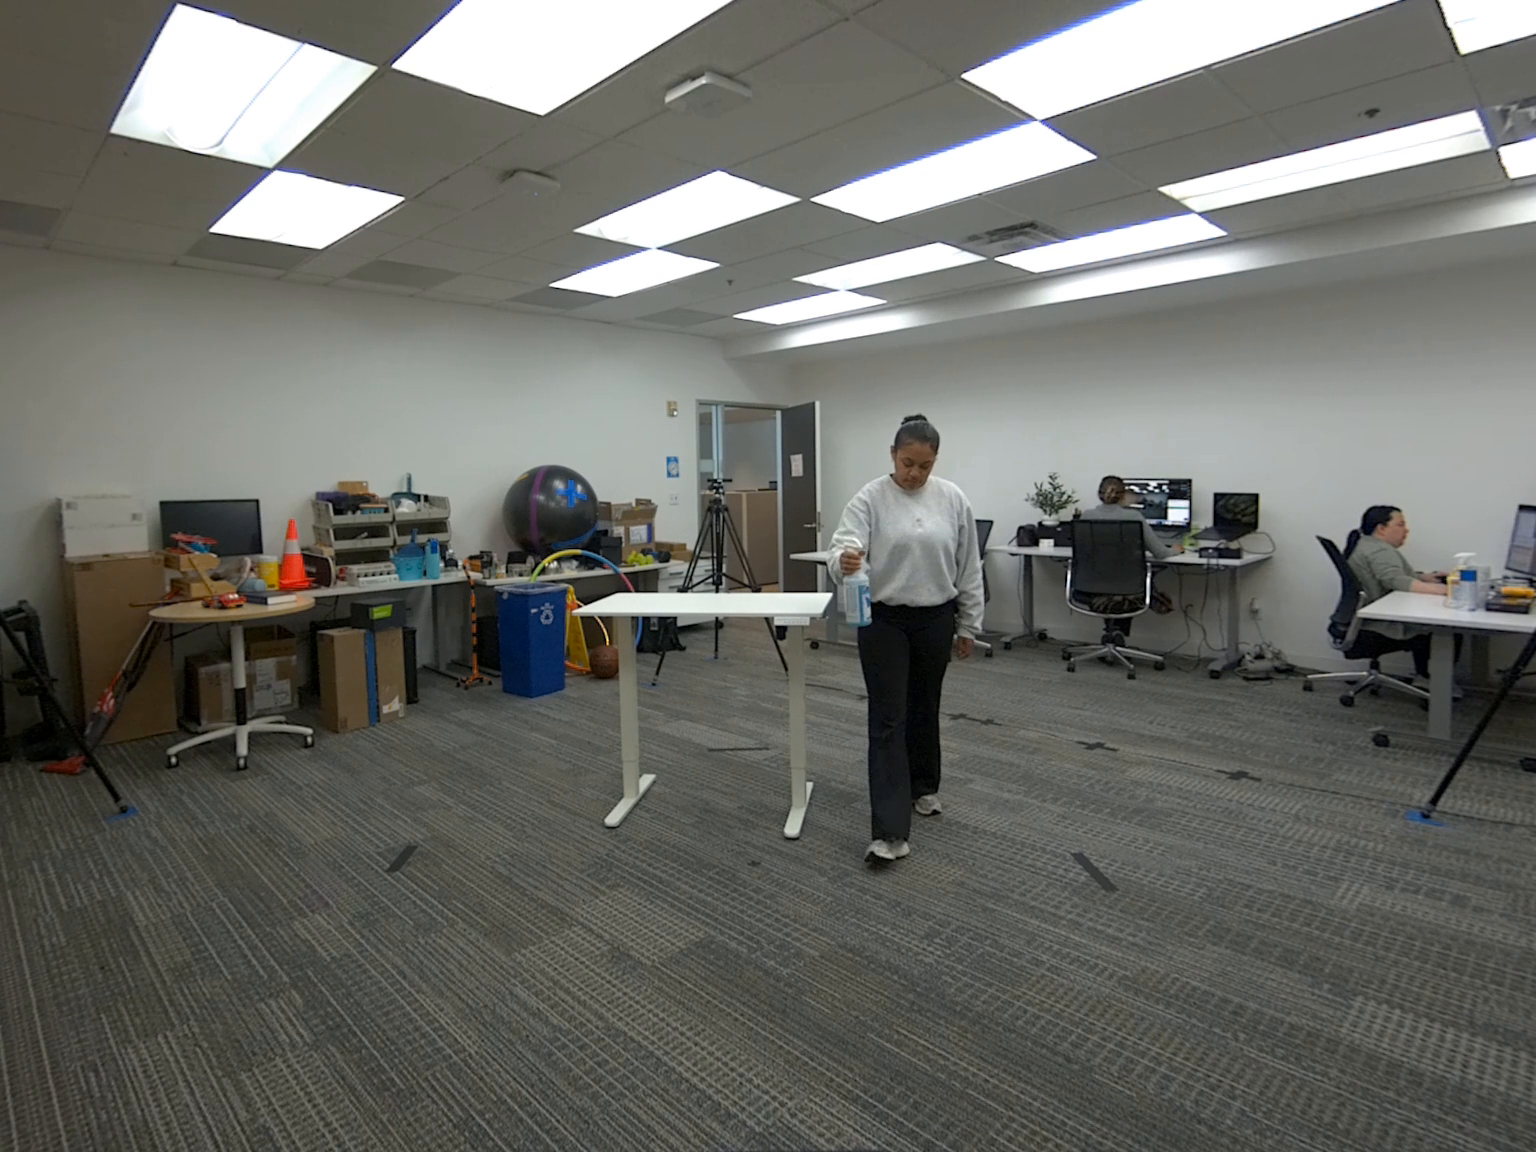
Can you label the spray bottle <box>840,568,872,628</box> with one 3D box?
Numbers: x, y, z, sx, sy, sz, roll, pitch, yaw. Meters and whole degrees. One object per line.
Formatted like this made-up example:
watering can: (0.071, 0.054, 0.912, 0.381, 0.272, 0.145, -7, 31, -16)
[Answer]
spray bottle: (0.304, 0.026, 2.908, 0.087, 0.296, 0.091, -5, 5, -5)
